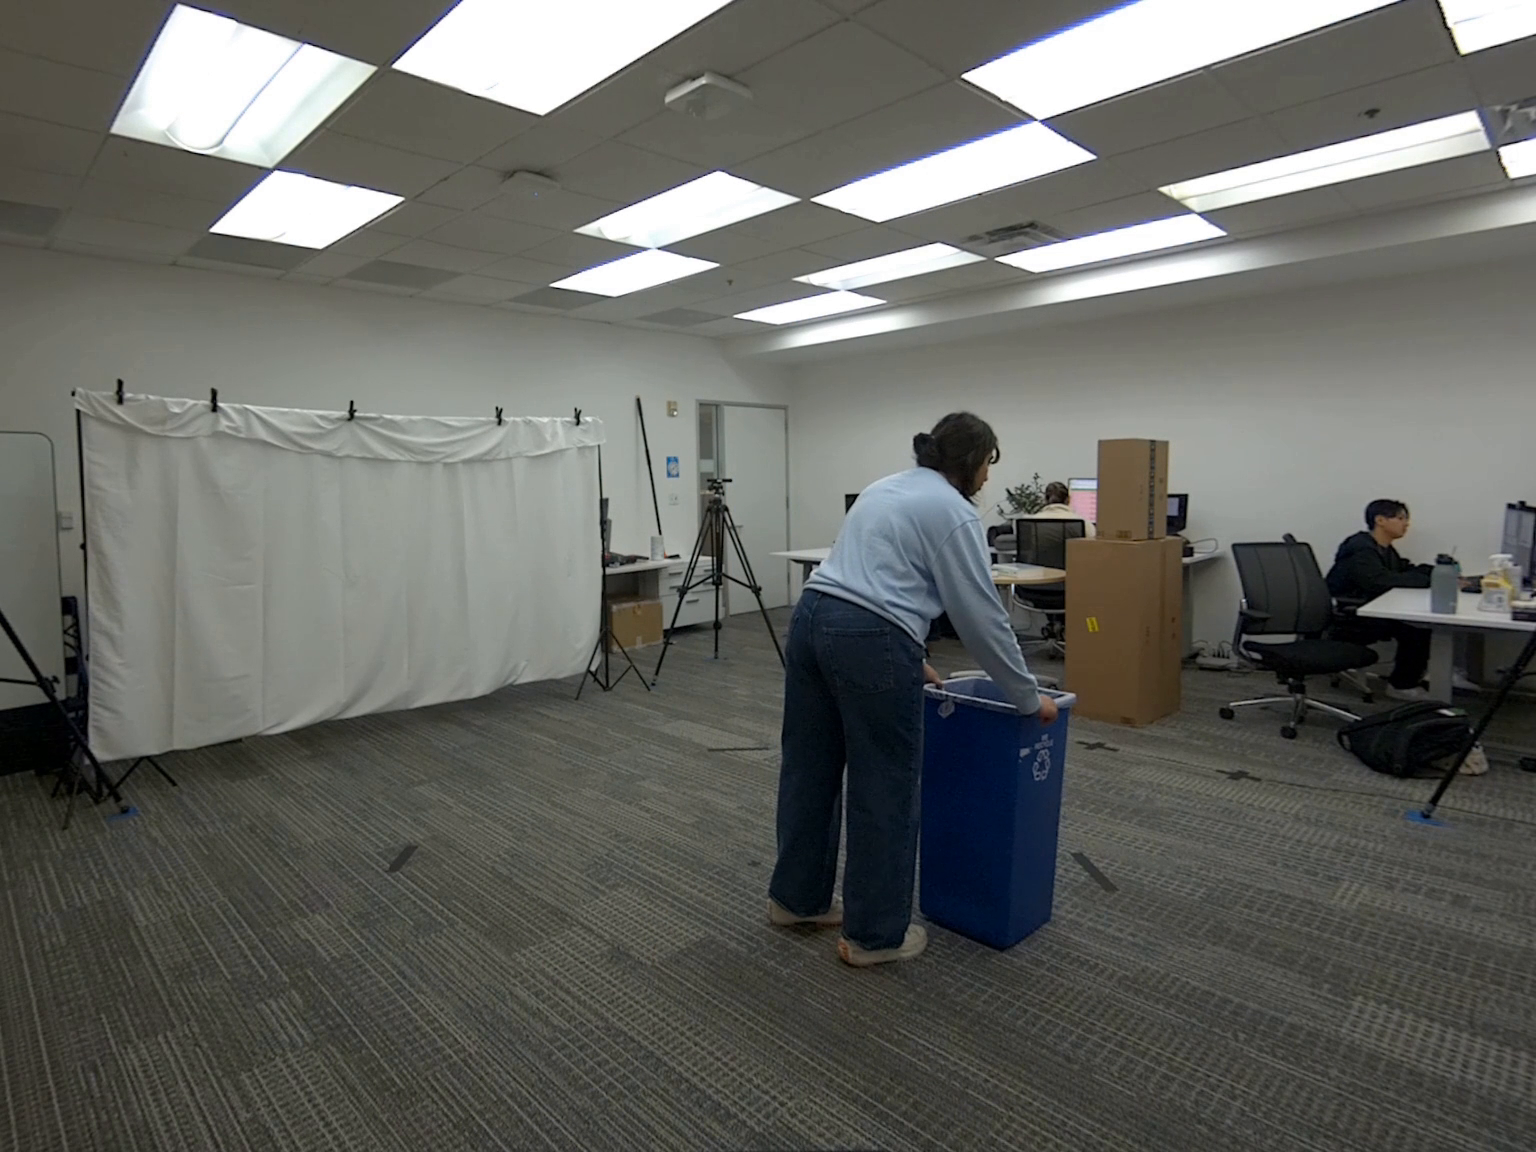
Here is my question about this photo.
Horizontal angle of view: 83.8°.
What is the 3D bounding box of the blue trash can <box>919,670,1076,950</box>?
[{"bbox_3d":[0.712,0.716,2.696,0.390,0.712,0.363,5,4,45],"label":"blue trash can"}]
